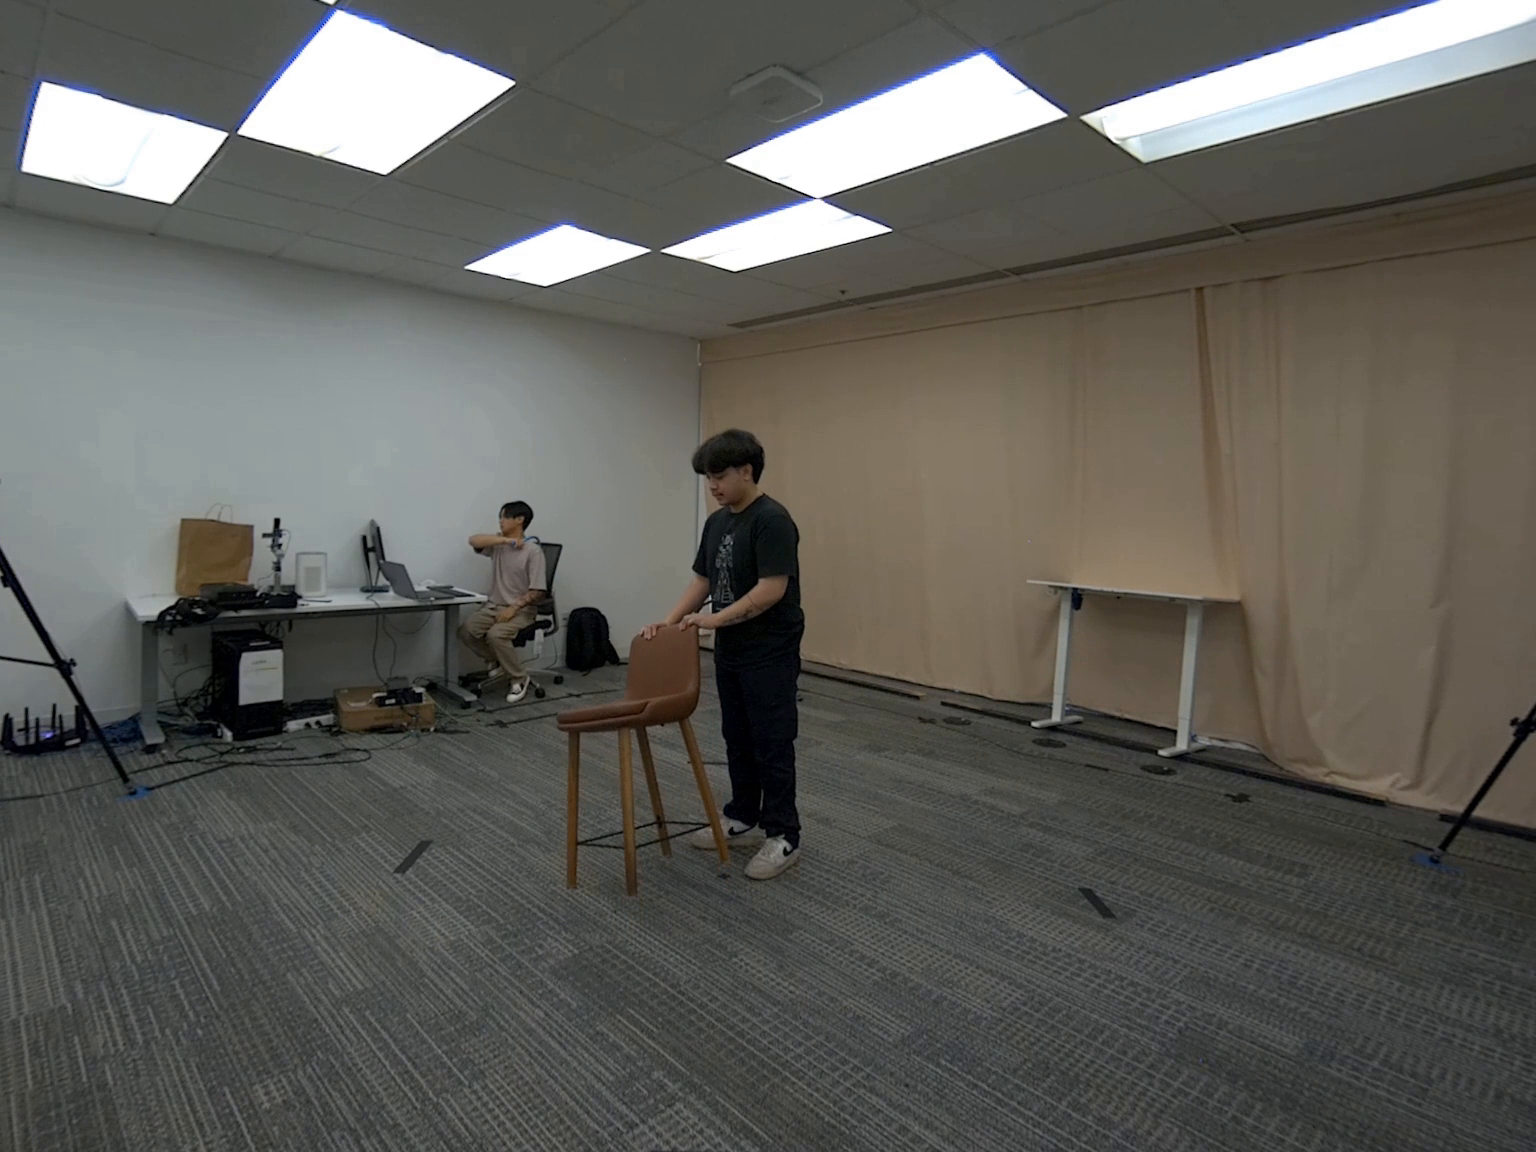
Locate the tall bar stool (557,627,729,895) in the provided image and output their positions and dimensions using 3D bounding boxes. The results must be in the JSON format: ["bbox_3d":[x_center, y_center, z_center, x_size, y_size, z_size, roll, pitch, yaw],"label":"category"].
[{"bbox_3d":[-0.481,0.633,3.062,0.456,0.897,0.464,2,-13,-43],"label":"tall bar stool"}]
